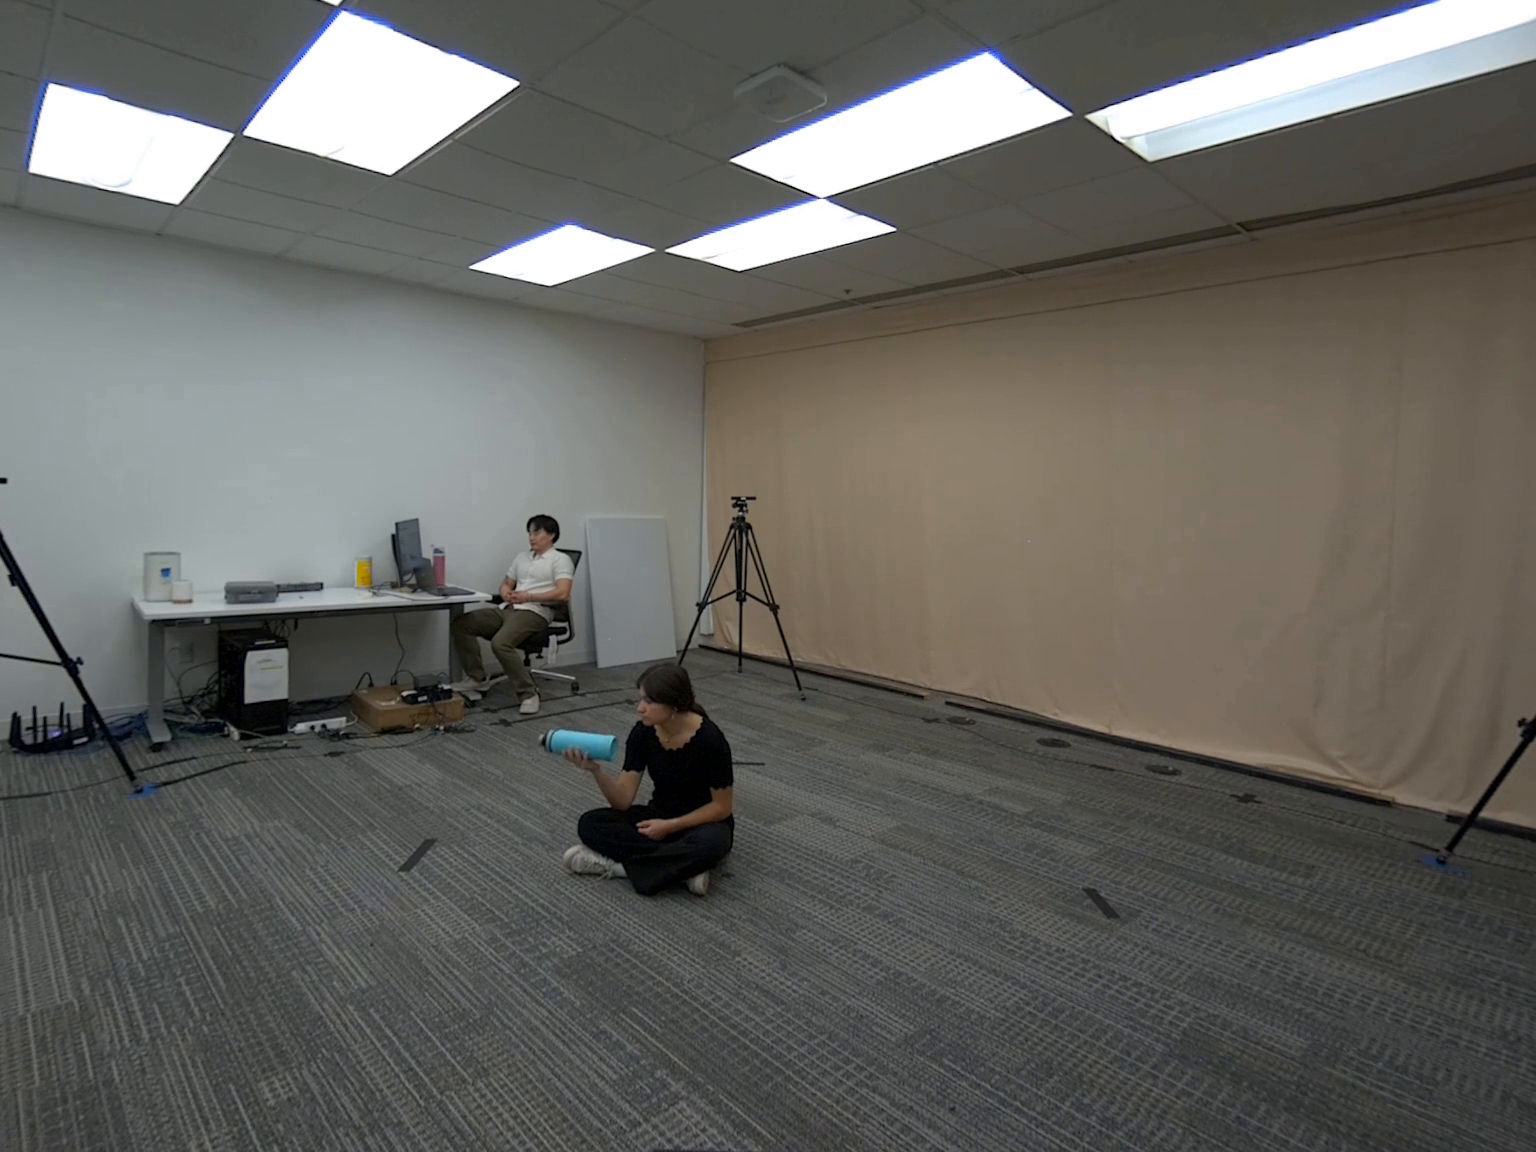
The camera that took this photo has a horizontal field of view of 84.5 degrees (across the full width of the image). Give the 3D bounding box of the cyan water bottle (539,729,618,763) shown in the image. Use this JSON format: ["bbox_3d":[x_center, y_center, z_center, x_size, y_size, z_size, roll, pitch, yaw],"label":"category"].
[{"bbox_3d":[-0.707,0.615,3.058,0.286,0.092,0.091,4,5,12],"label":"cyan water bottle"}]
